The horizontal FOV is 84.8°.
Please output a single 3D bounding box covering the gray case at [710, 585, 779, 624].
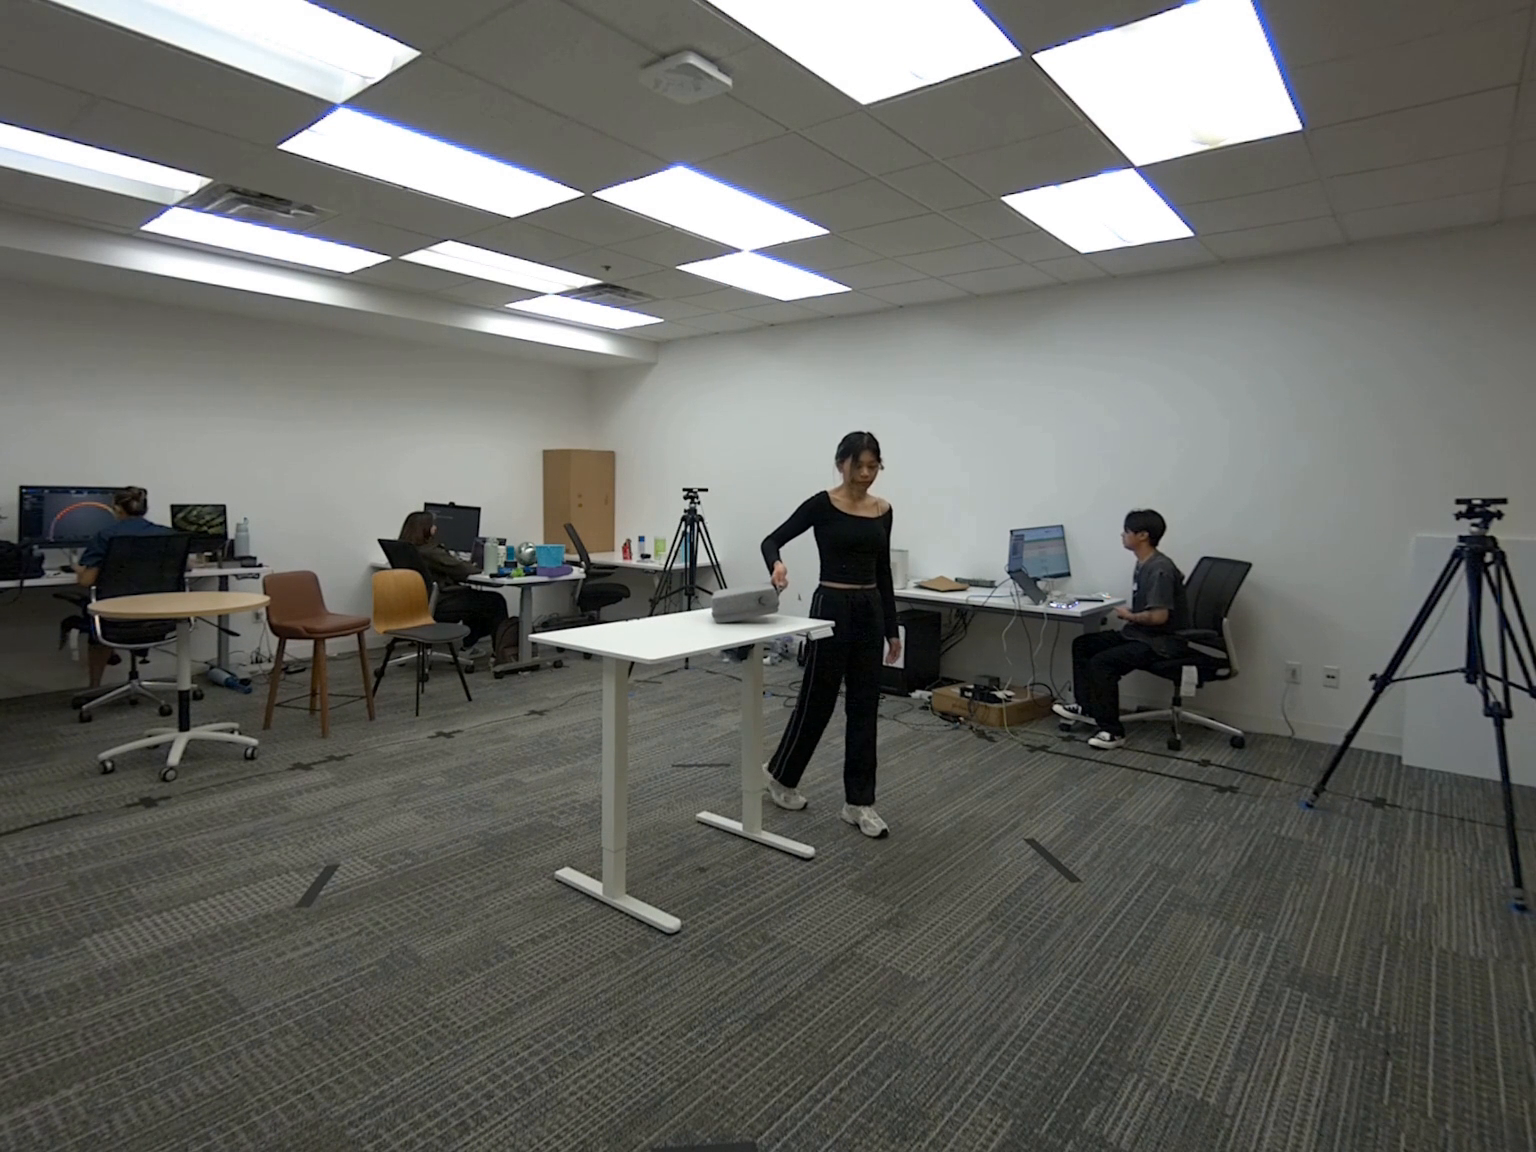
[{"bbox_3d":[-0.106,0.093,3.304,0.260,0.104,0.258,-9,5,-2],"label":"gray case"}]
